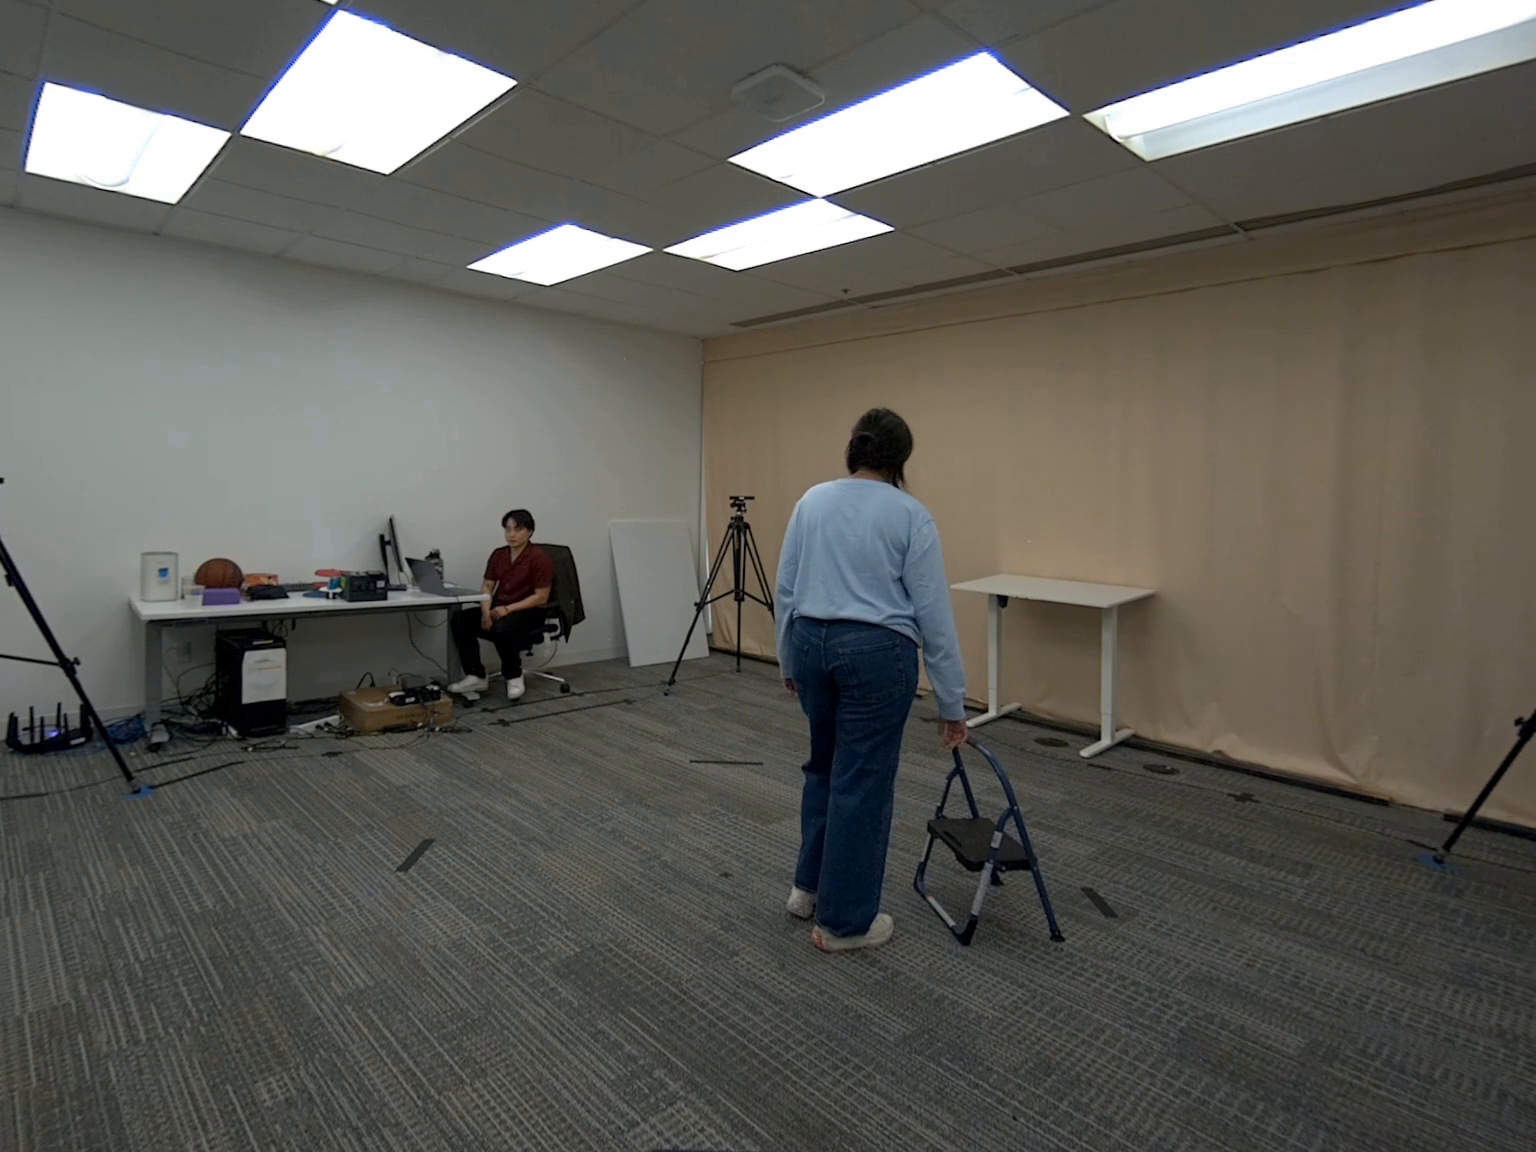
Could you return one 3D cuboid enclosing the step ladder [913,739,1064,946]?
[{"bbox_3d":[0.734,0.847,2.857,0.346,0.604,0.436,1,4,-12],"label":"step ladder"}]
